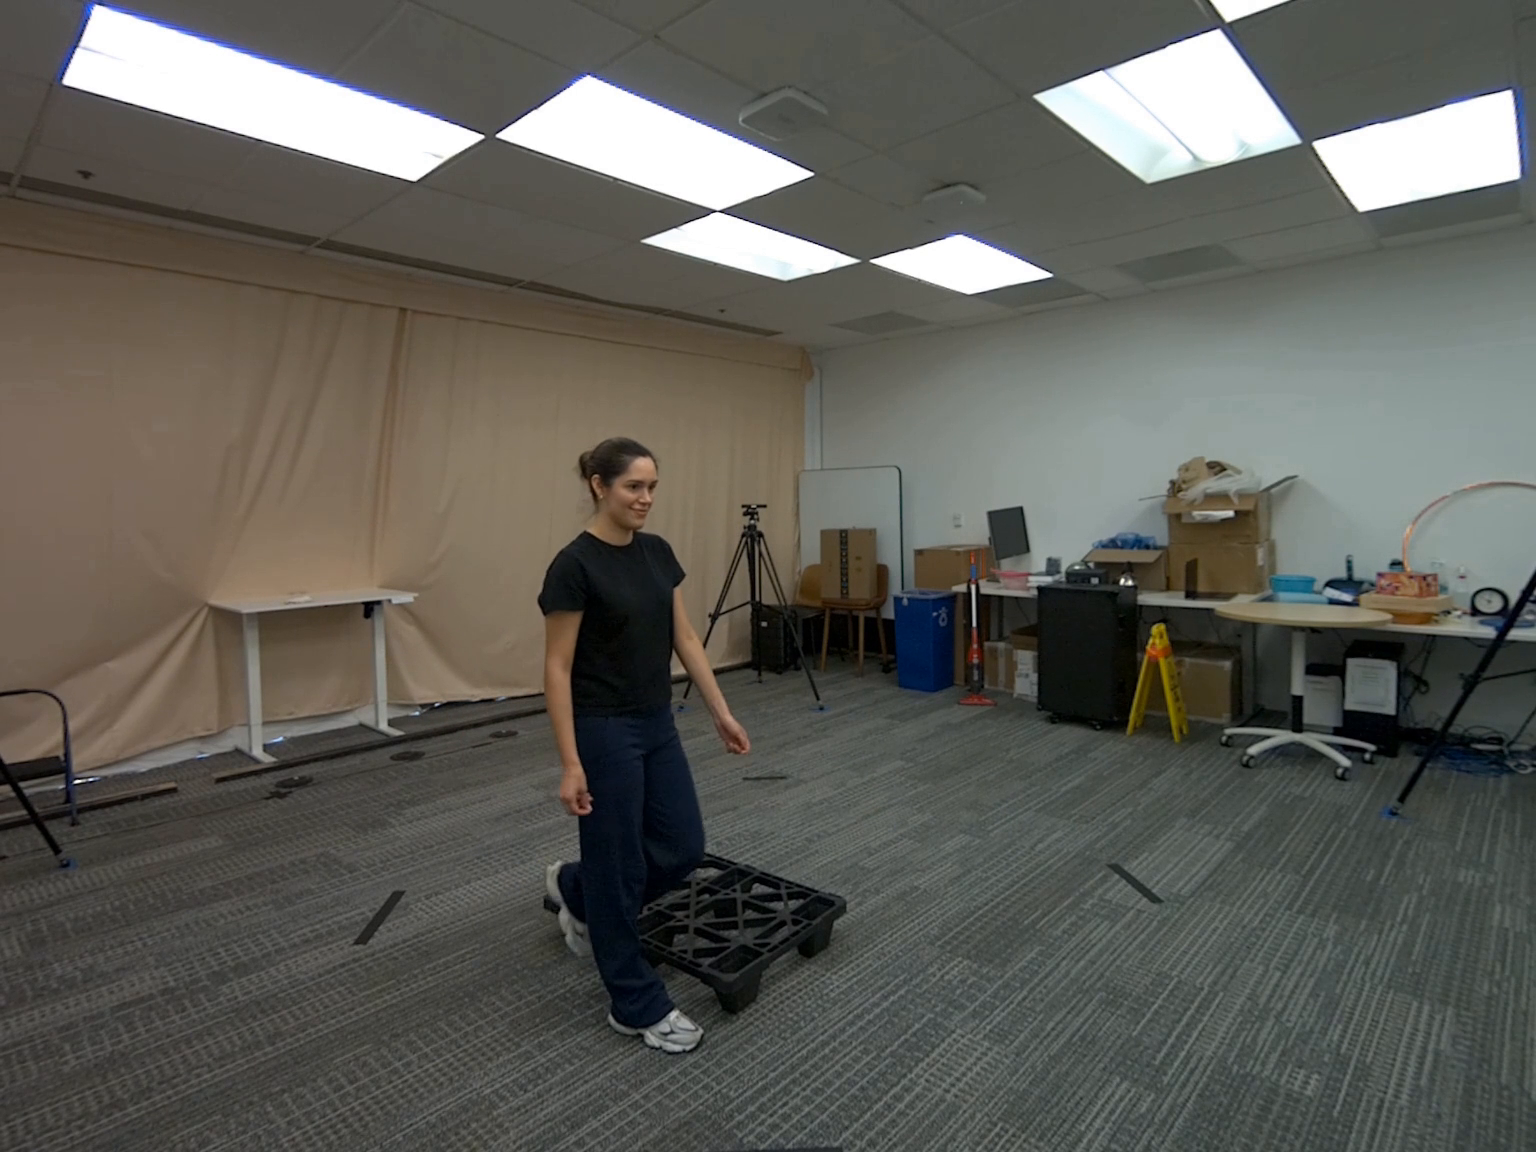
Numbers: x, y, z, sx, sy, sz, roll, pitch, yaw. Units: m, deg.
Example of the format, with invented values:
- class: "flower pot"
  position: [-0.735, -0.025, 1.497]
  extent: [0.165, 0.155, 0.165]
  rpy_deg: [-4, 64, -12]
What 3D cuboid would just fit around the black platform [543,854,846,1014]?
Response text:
- class: "black platform"
  position: [-0.221, 1.103, 2.706]
  extent: [0.832, 0.143, 0.587]
  rpy_deg: [2, 7, 39]
